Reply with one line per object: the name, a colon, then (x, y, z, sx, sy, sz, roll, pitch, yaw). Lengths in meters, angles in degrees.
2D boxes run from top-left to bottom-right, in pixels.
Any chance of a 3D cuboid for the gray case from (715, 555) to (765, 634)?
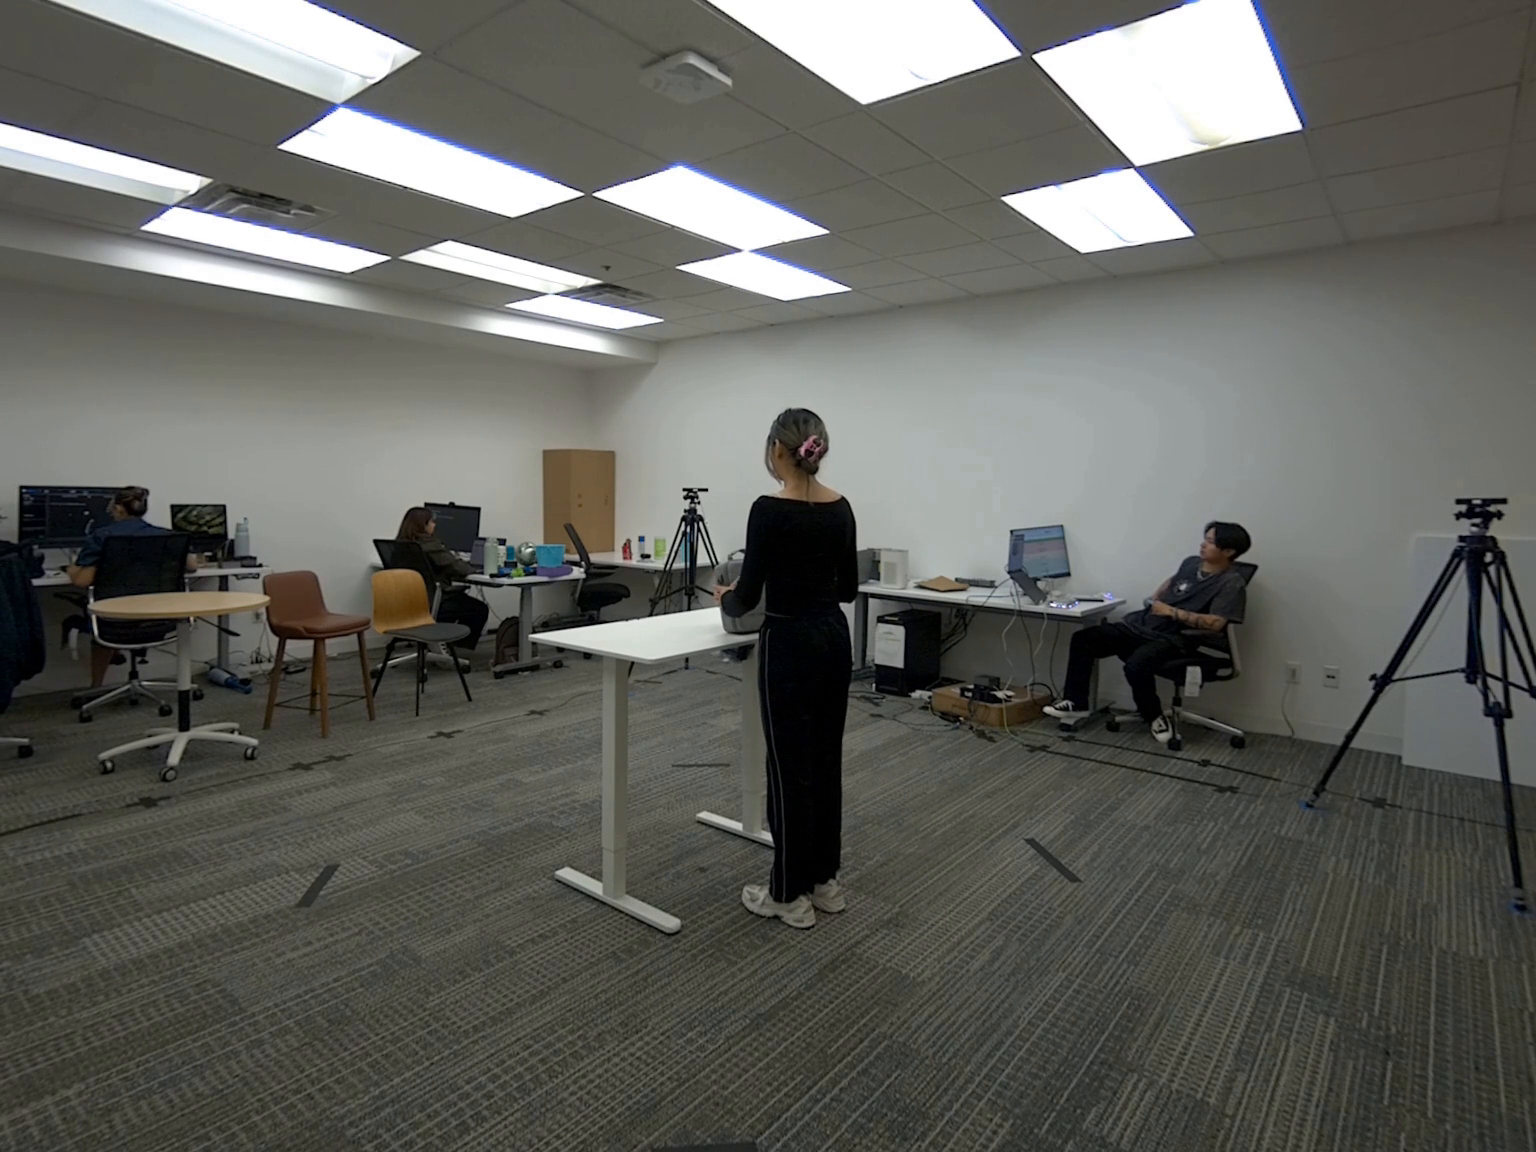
gray case: (-0.070, 0.063, 3.051, 0.249, 0.263, 0.106, -3, -10, -42)
